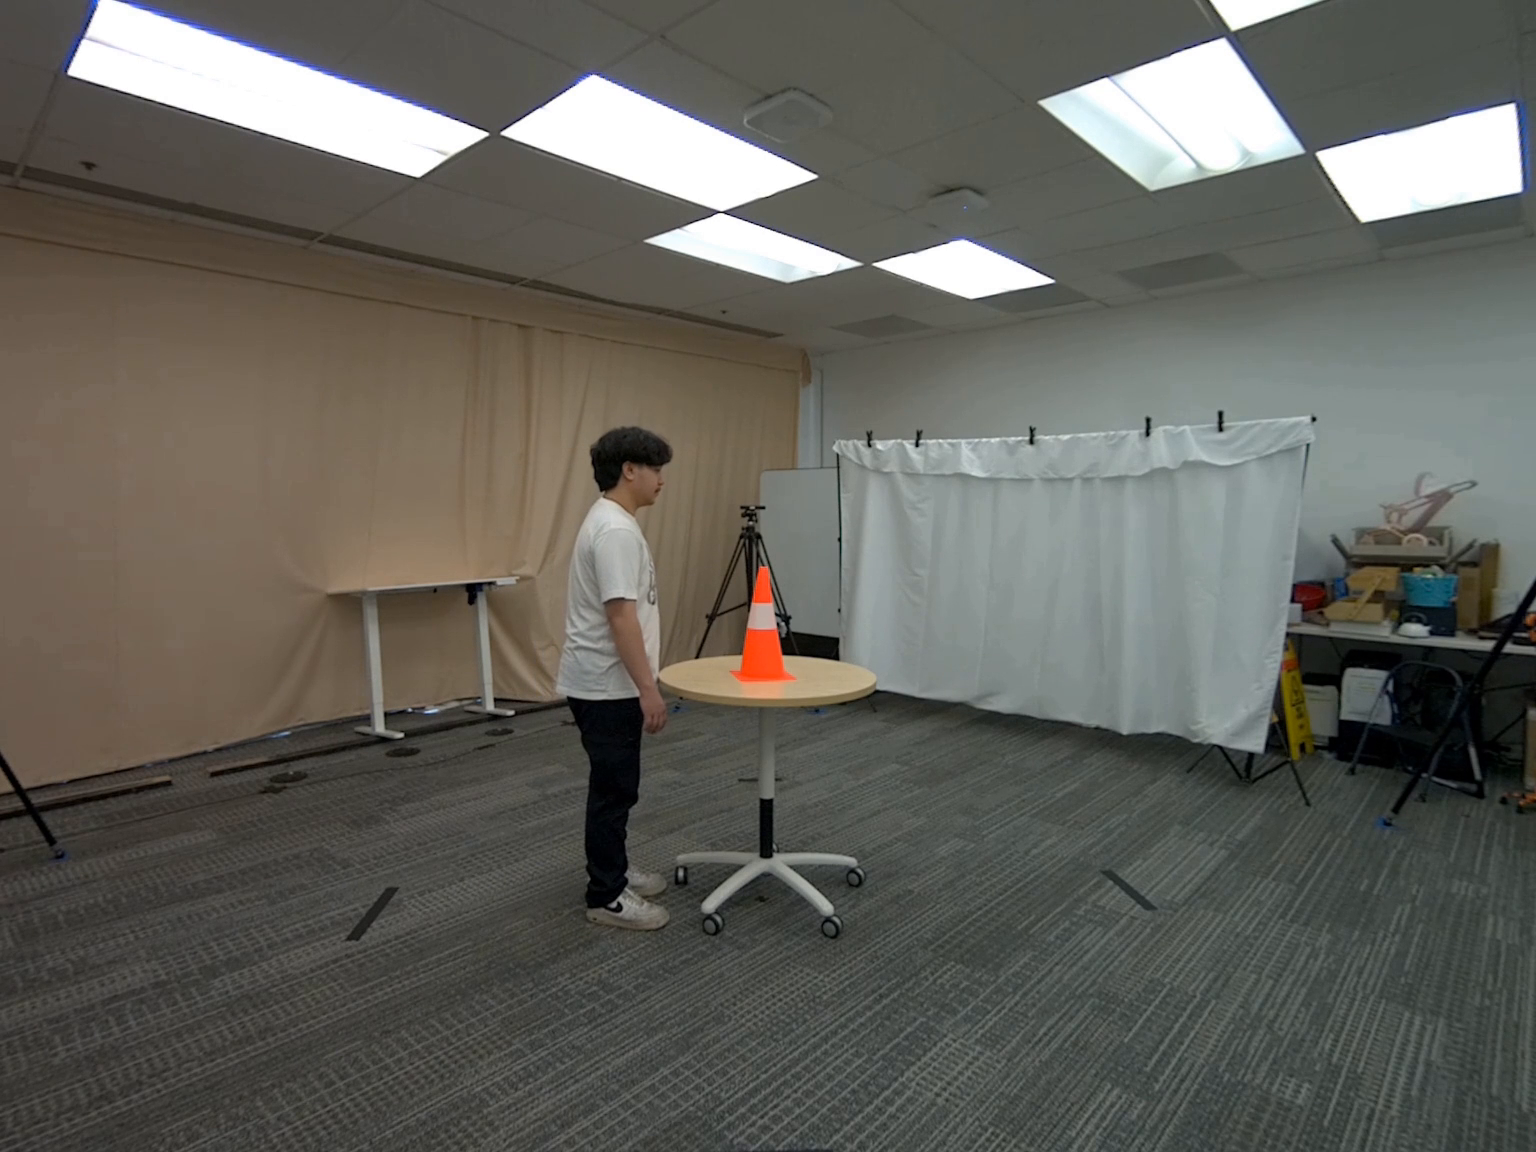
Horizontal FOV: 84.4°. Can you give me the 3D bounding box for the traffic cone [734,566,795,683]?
[{"bbox_3d":[-0.014,0.161,2.949,0.210,0.383,0.199,4,3,33],"label":"traffic cone"}]
